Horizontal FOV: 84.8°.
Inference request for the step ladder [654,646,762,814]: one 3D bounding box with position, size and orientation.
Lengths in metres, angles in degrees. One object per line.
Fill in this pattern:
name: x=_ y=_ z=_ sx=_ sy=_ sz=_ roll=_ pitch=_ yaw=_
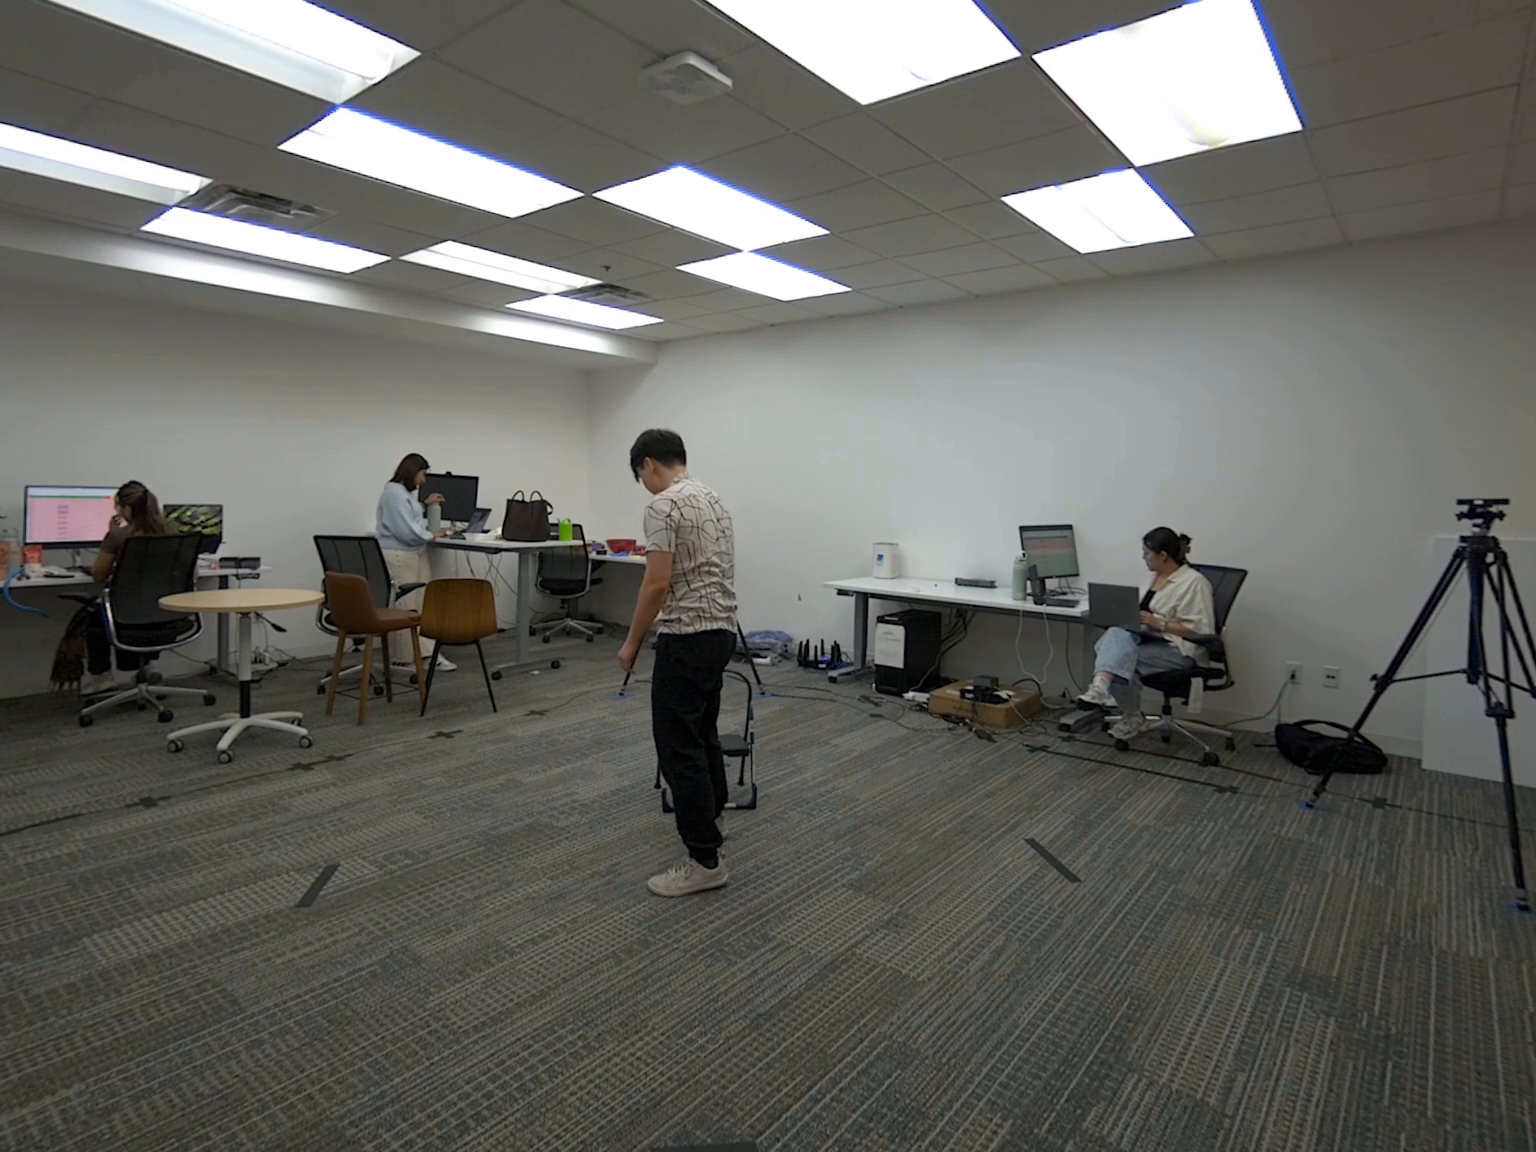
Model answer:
step ladder: x=-0.290 y=0.697 z=3.831 sx=0.426 sy=0.605 sz=0.354 roll=0 pitch=3 yaw=-11
